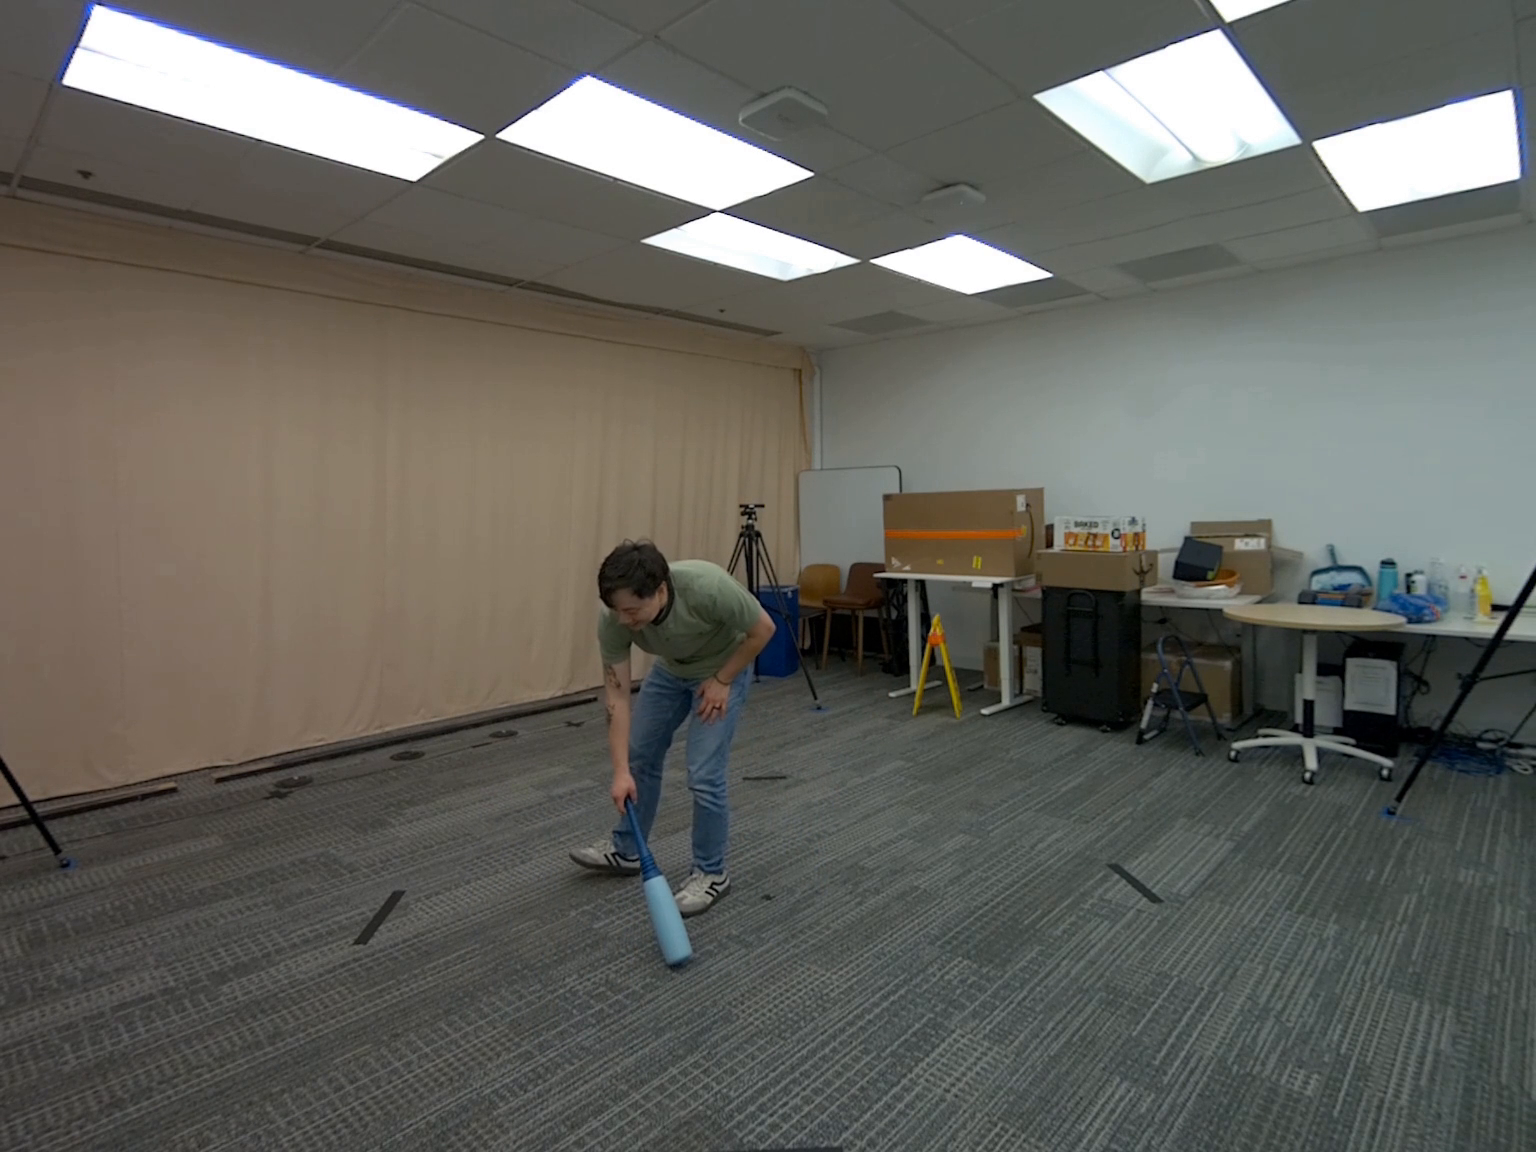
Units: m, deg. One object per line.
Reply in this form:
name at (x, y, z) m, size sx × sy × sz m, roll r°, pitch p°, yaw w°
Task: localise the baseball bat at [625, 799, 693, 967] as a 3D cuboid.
baseball bat at (-0.362, 0.939, 2.659) m, size 0.088 × 0.557 × 0.087 m, roll -19°, pitch -28°, yaw -12°
